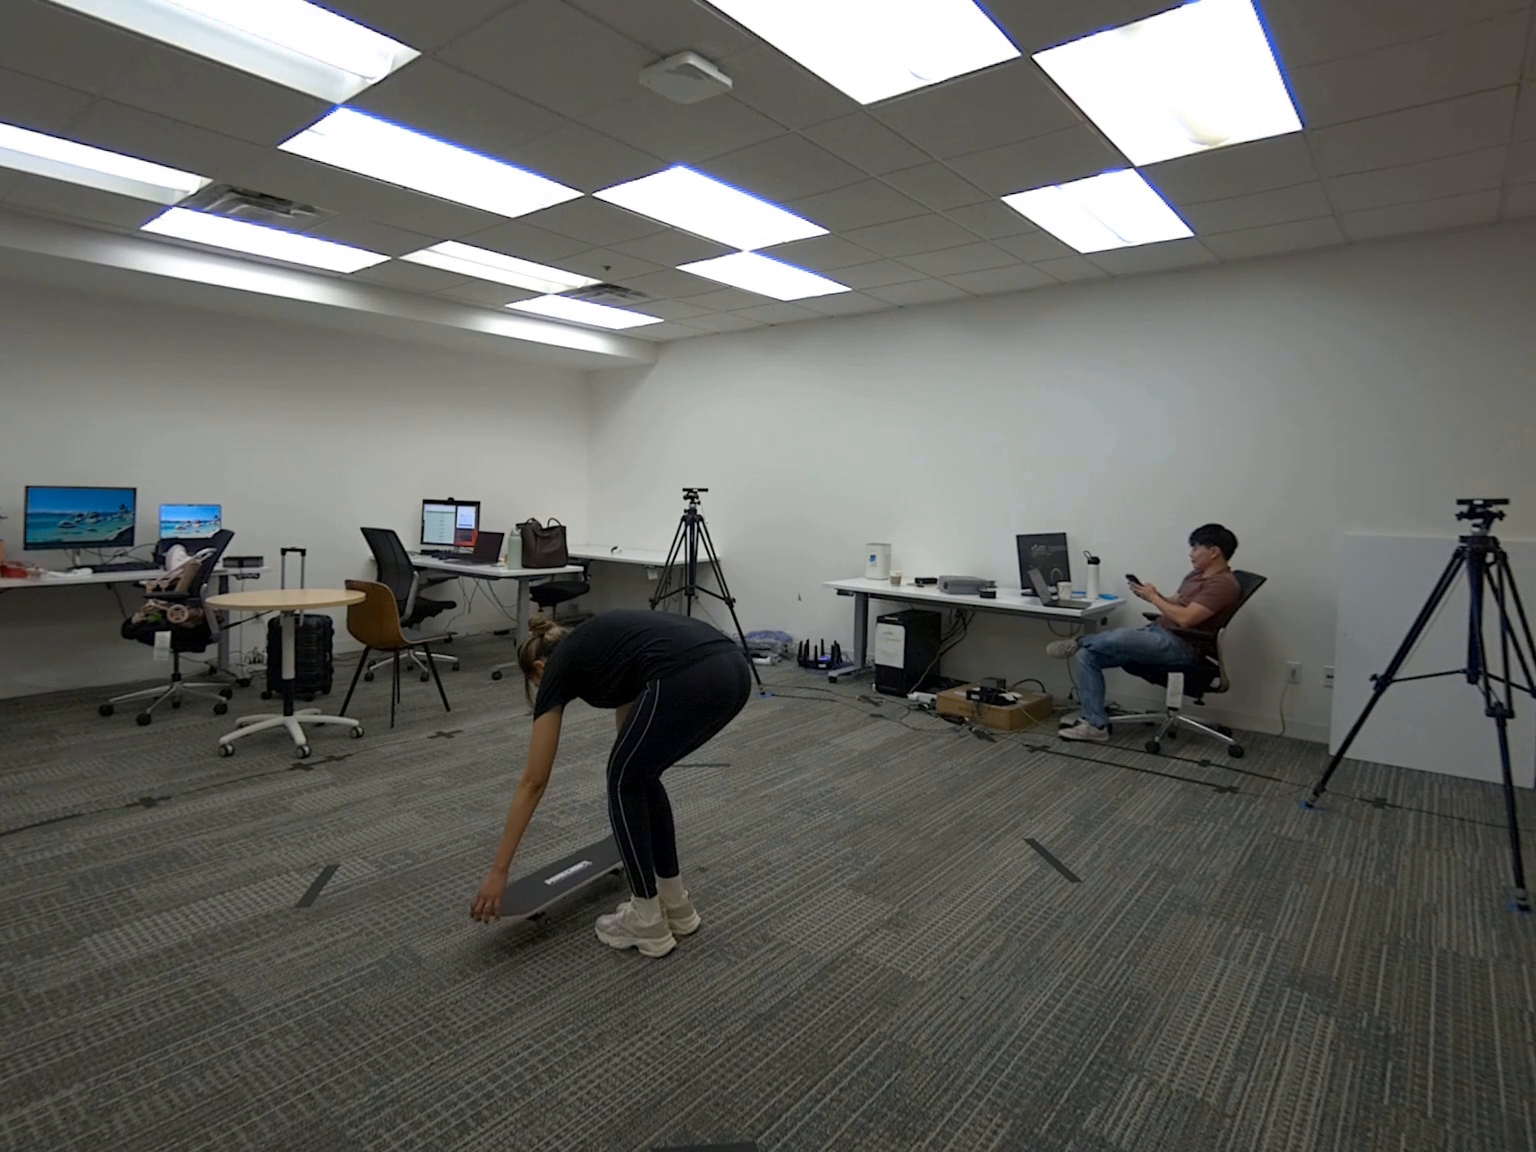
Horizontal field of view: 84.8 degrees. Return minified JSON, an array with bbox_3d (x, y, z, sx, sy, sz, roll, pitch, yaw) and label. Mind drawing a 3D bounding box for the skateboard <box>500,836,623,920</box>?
[{"bbox_3d":[-0.665,1.009,2.811,0.199,0.110,0.765,1,4,30],"label":"skateboard"}]
